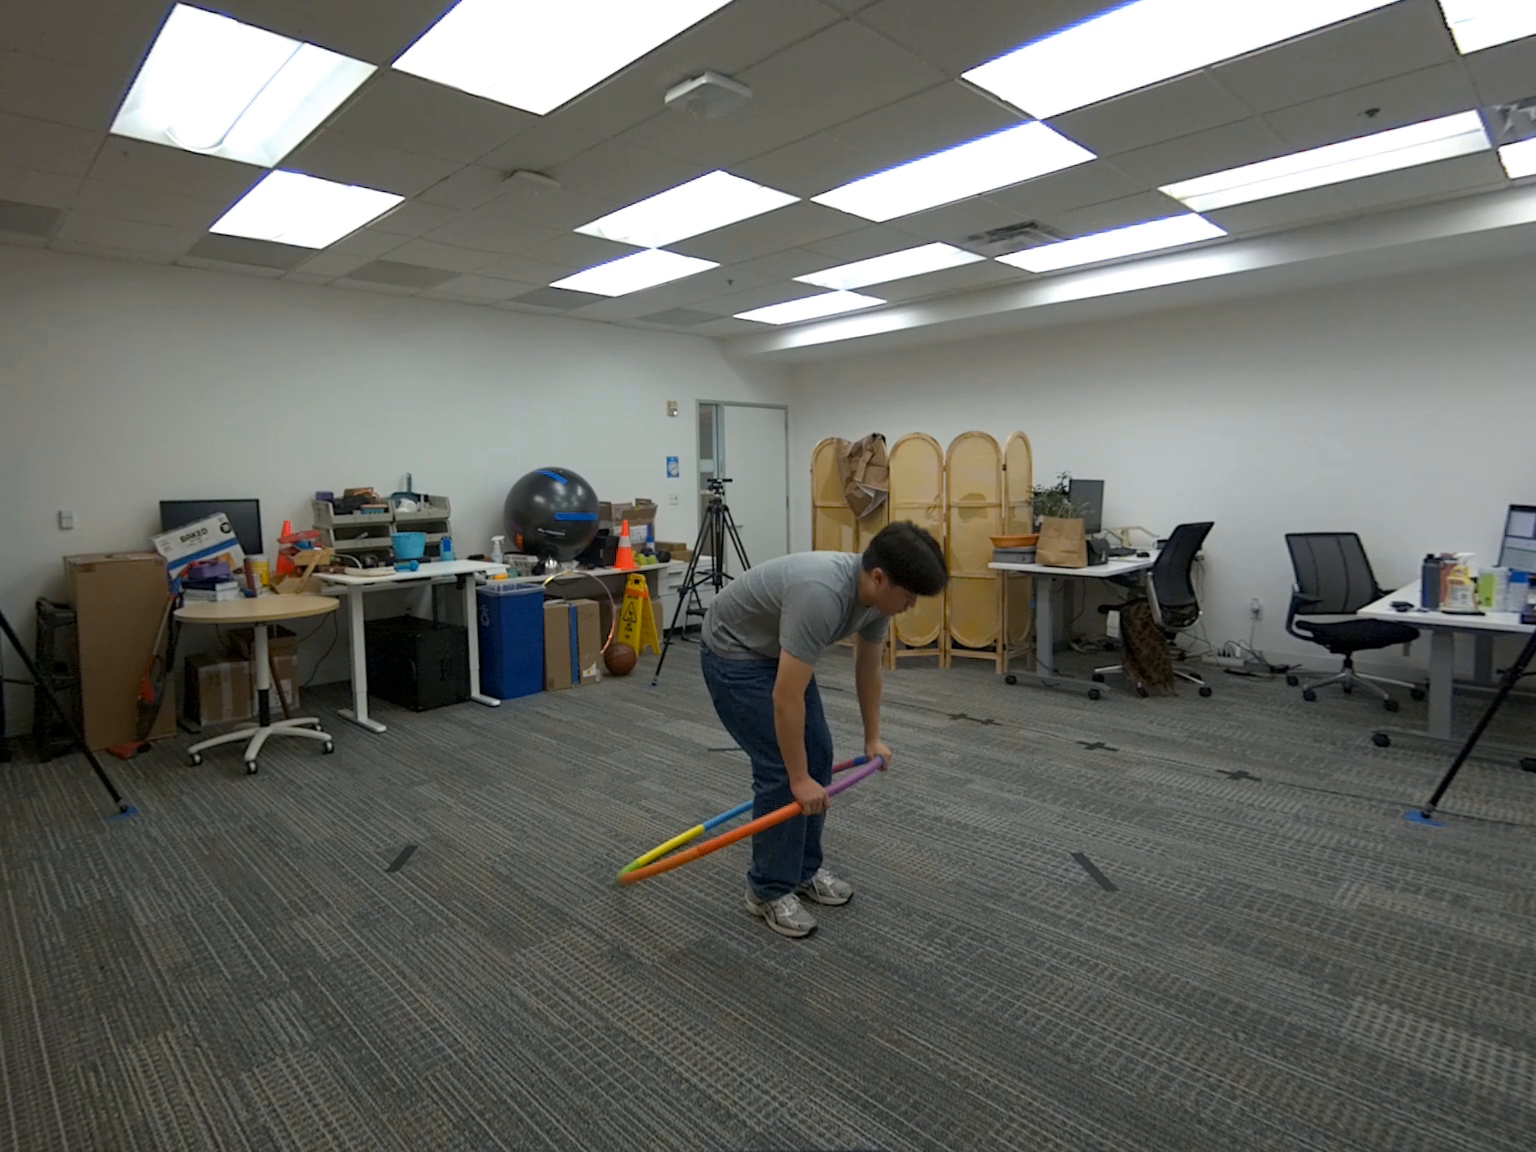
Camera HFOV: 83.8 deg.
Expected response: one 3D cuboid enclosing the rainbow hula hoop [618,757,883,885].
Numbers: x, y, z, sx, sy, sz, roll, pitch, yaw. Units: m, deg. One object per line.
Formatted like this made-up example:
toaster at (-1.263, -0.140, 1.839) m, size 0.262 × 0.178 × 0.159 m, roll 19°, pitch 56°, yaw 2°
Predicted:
rainbow hula hoop at (-0.059, 0.817, 2.911) m, size 0.975 × 0.036 × 0.969 m, roll -23°, pitch -9°, yaw -6°
